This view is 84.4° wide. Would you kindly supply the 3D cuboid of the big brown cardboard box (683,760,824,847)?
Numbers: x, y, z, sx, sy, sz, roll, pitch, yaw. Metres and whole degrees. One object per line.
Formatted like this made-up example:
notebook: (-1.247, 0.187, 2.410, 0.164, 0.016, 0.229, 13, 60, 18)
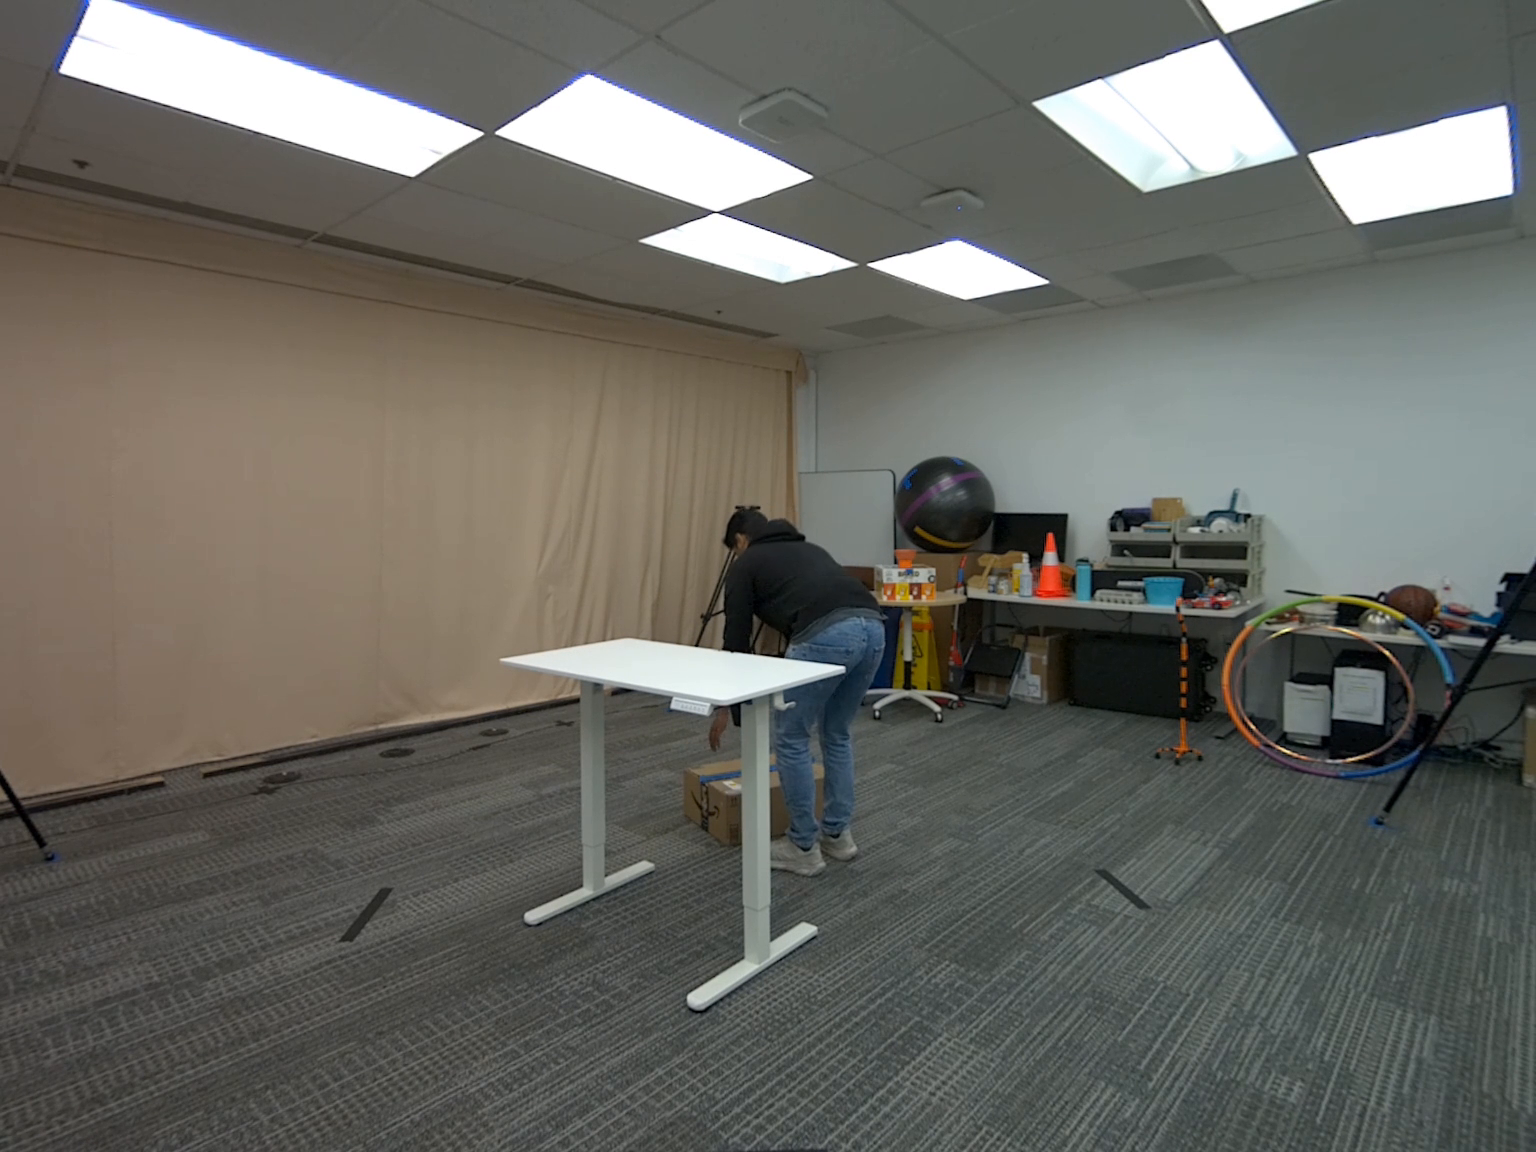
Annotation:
big brown cardboard box: (-0.037, 0.974, 3.738, 0.573, 0.233, 0.429, -2, 4, -30)
